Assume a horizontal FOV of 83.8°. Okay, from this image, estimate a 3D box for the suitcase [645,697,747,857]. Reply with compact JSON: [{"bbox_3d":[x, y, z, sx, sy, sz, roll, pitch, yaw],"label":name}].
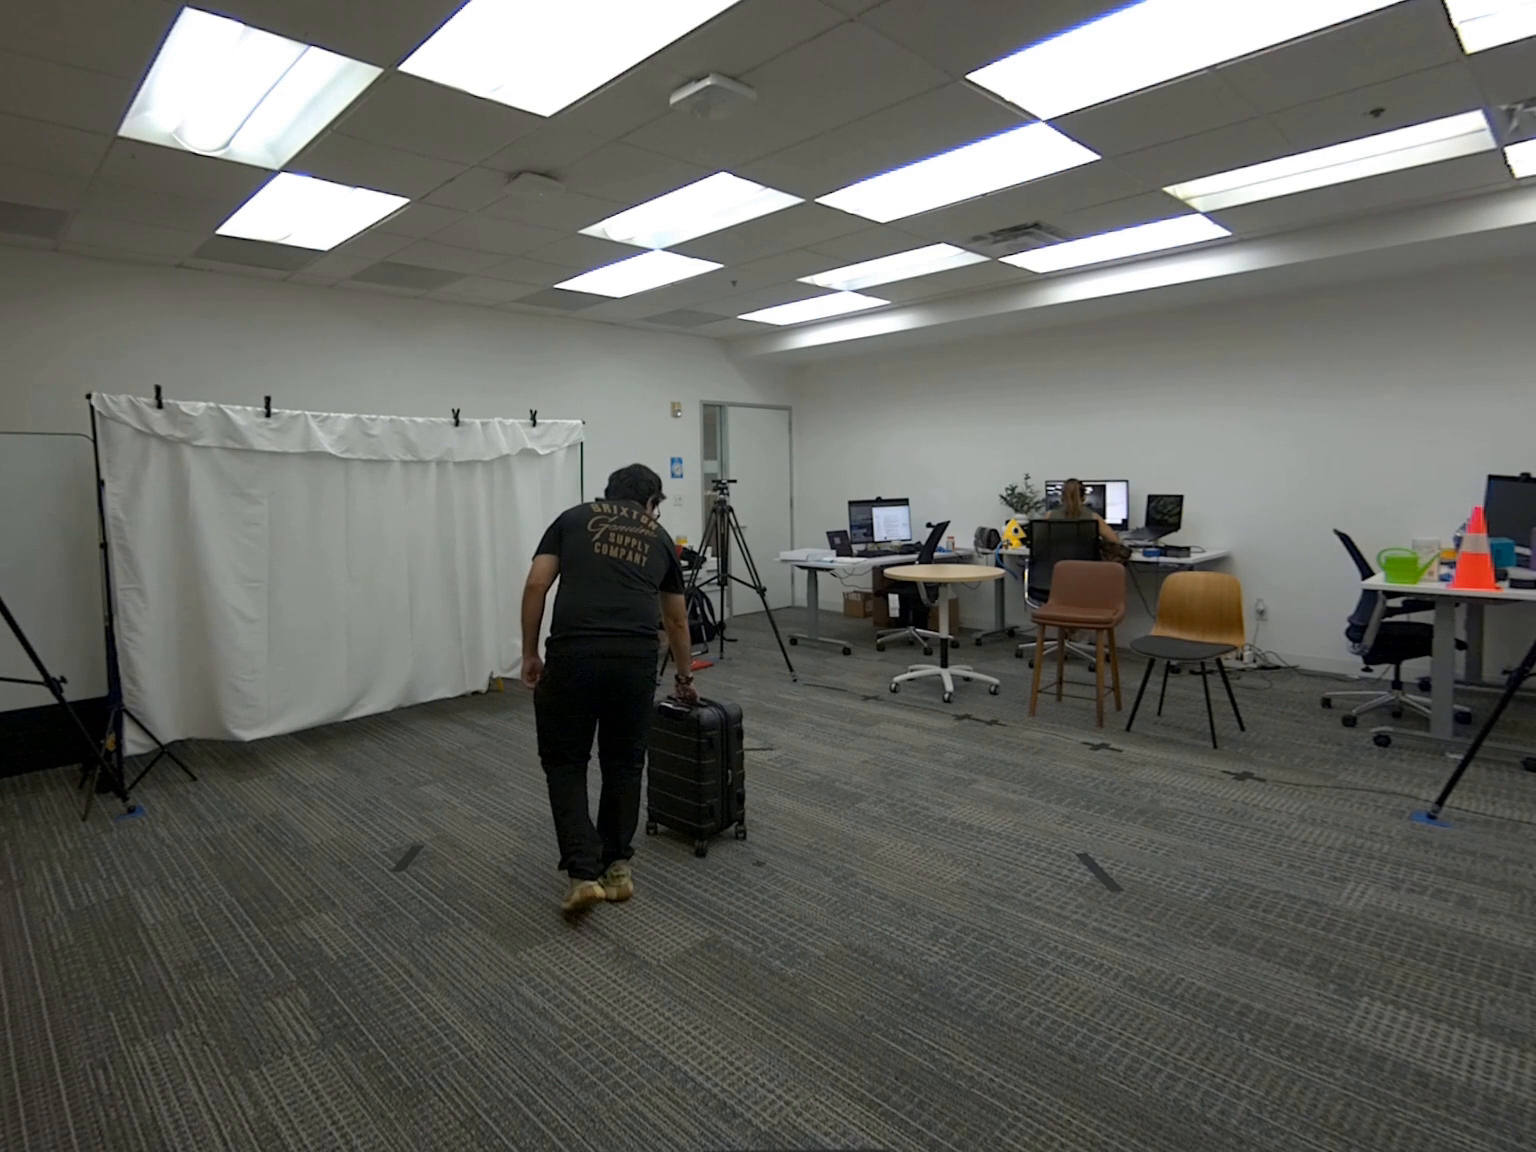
[{"bbox_3d":[-0.279,0.757,3.367,0.387,0.549,0.241,3,2,44],"label":"suitcase"}]
